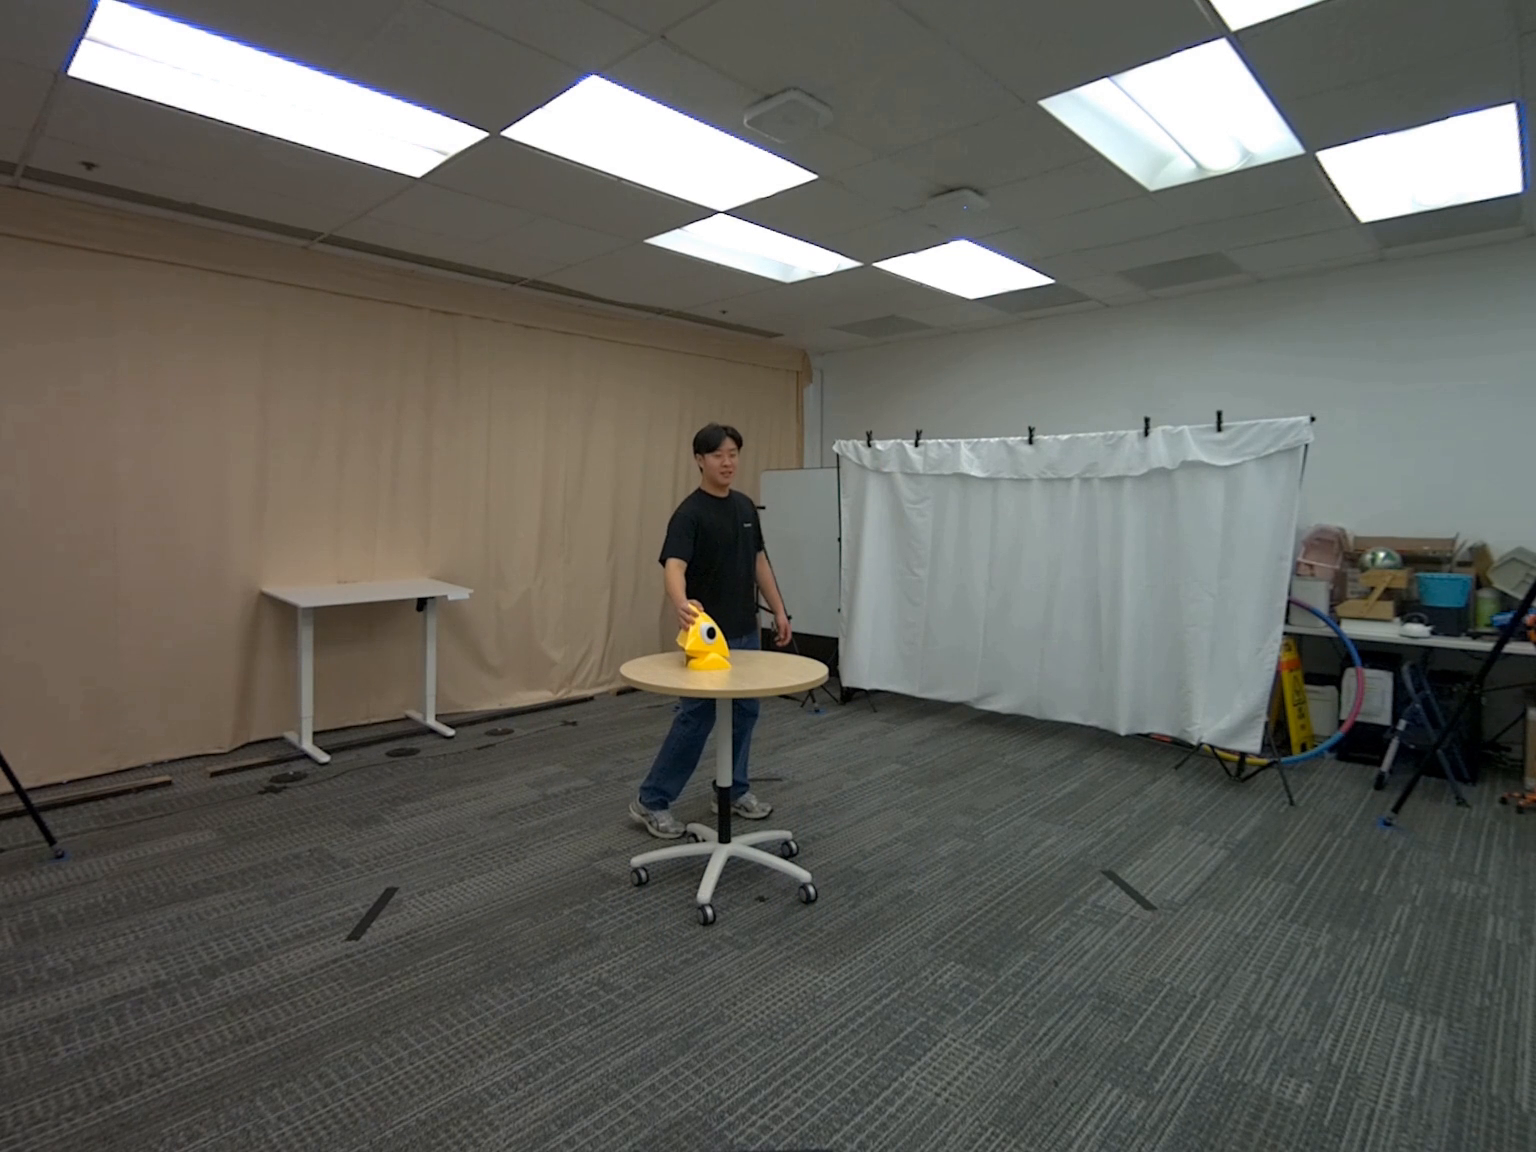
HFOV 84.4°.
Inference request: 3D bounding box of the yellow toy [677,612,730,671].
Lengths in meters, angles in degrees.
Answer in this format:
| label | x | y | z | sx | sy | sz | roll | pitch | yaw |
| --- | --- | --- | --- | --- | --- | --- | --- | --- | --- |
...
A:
| label | x | y | z | sx | sy | sz | roll | pitch | yaw |
| --- | --- | --- | --- | --- | --- | --- | --- | --- | --- |
| yellow toy | -0.236 | 0.219 | 3.154 | 0.190 | 0.230 | 0.208 | -2 | 3 | -14 |
